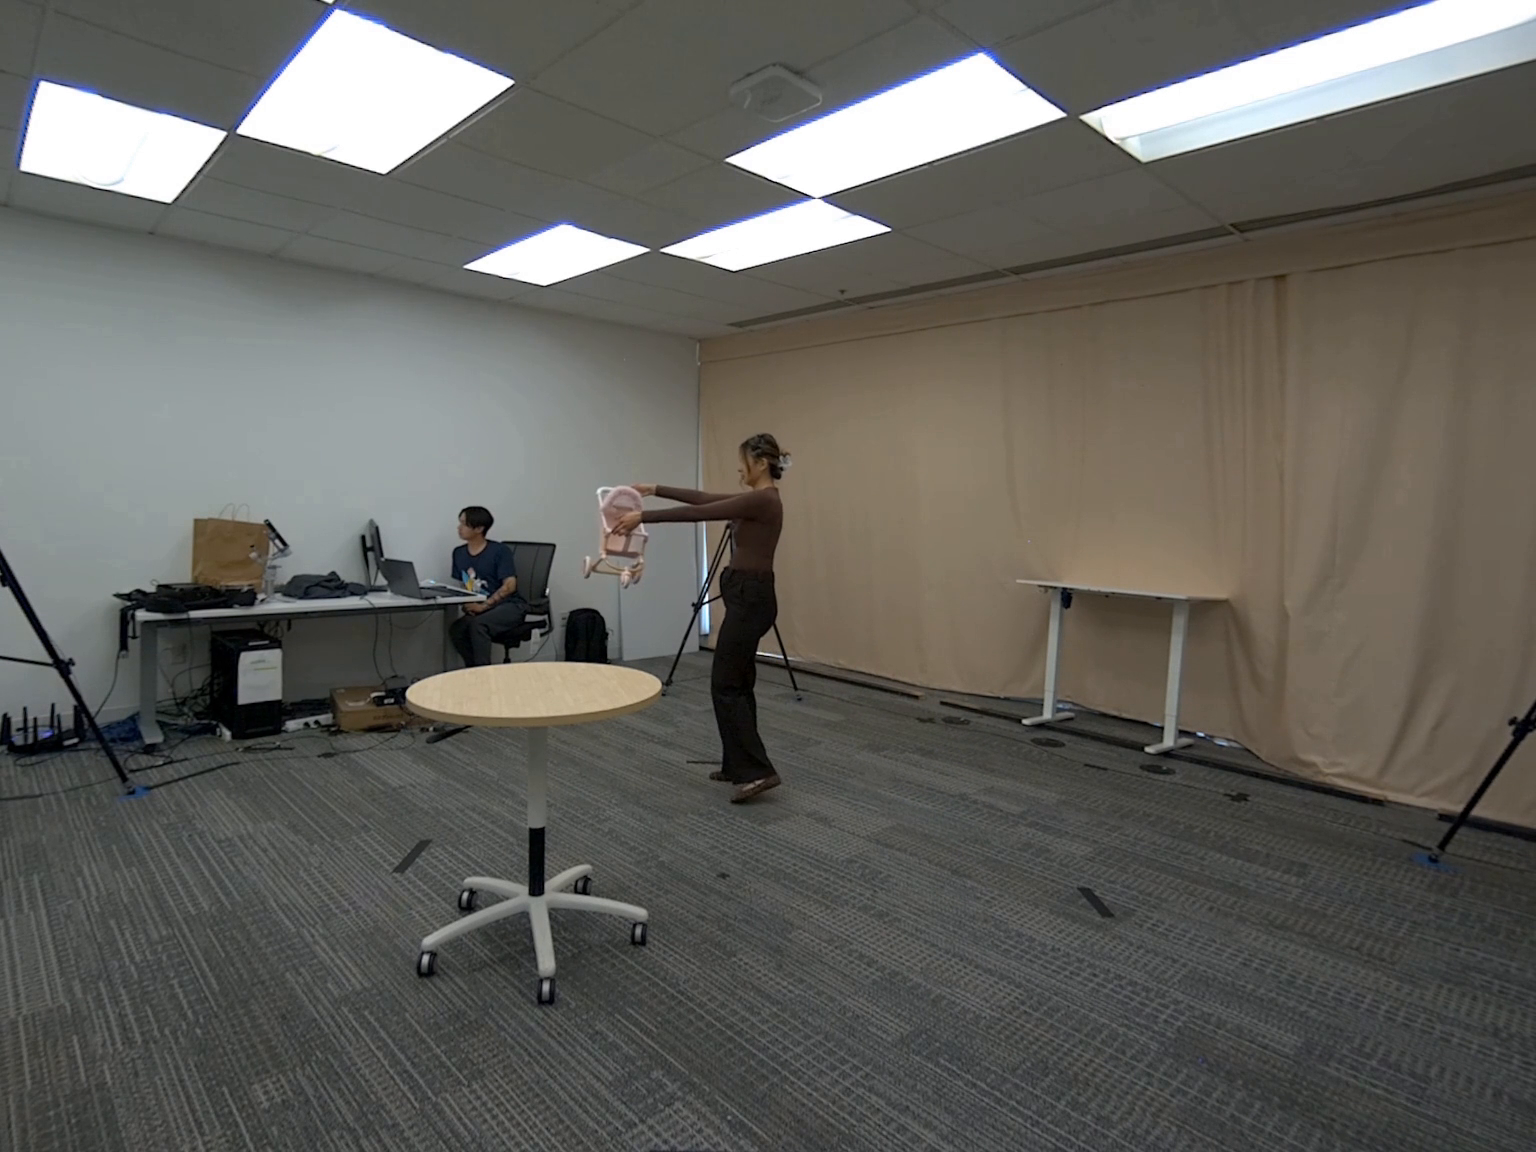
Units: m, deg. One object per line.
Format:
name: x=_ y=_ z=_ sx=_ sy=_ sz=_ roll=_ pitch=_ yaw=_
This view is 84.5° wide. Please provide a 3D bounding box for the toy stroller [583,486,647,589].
toy stroller: x=-0.713 y=-0.187 z=4.059 sx=0.276 sy=0.539 sz=0.345 roll=7 pitch=-11 yaw=-22
